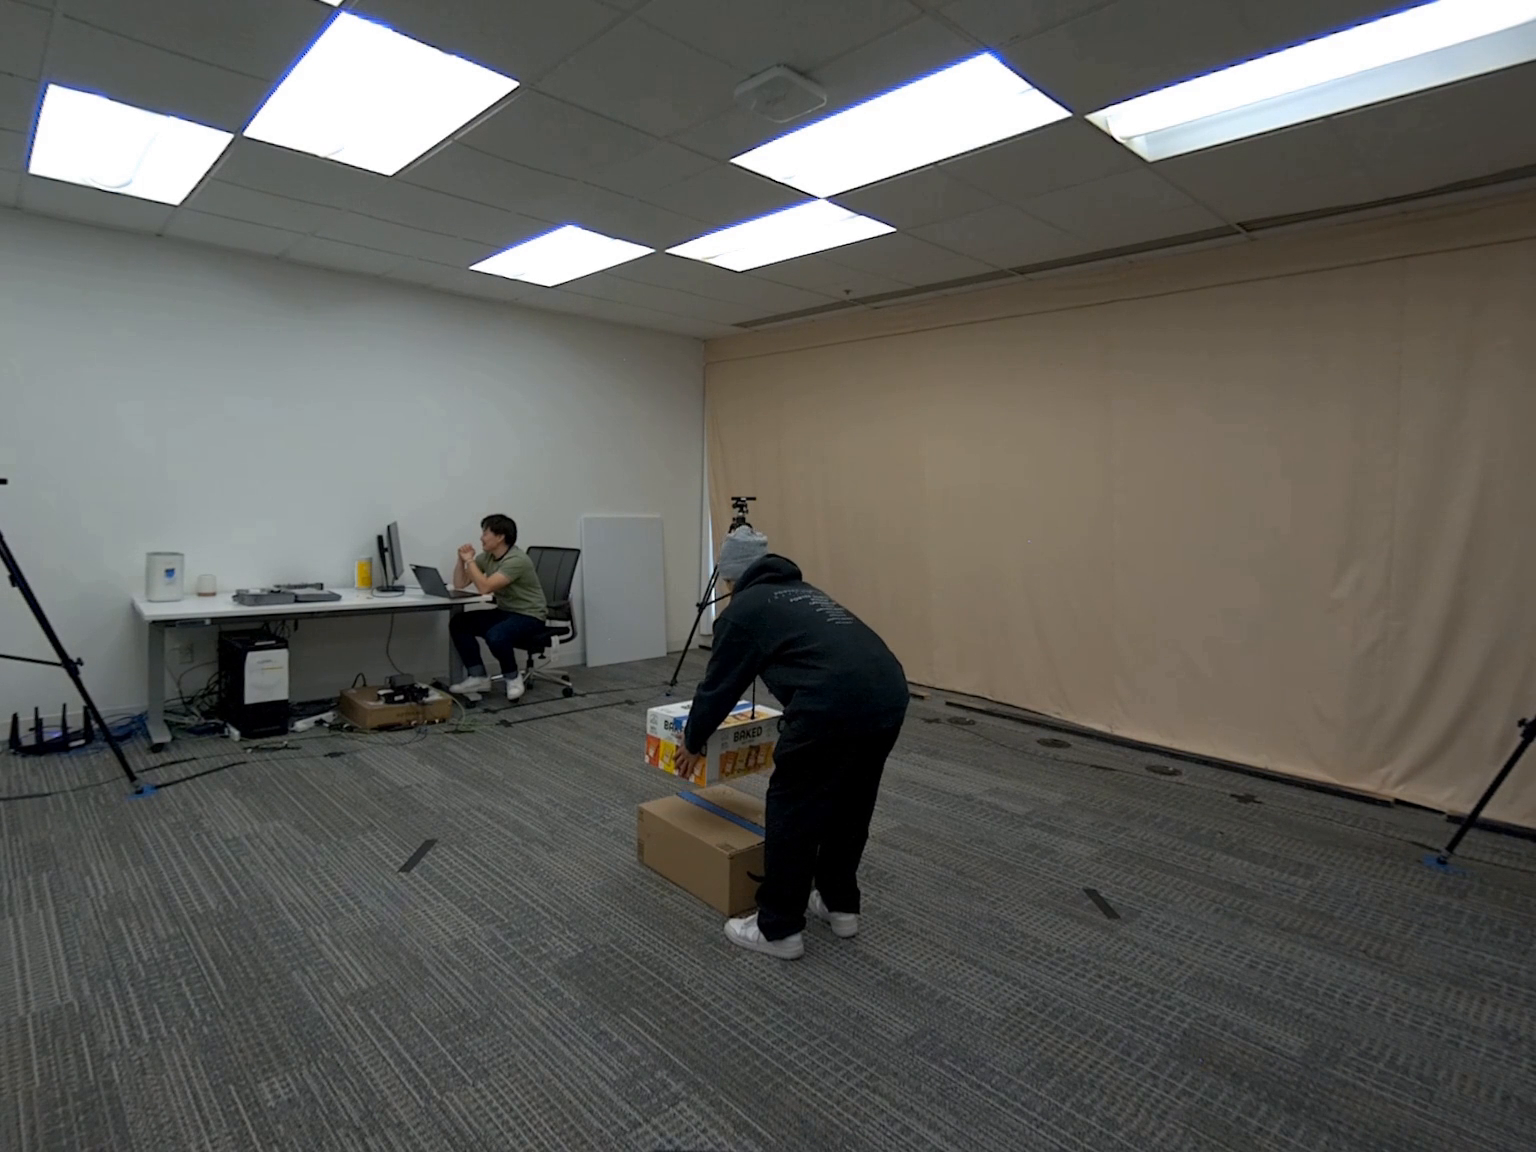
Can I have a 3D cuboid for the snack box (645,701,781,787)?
[{"bbox_3d":[-0.201,0.609,3.152,0.349,0.205,0.396,9,8,44],"label":"snack box"}]
